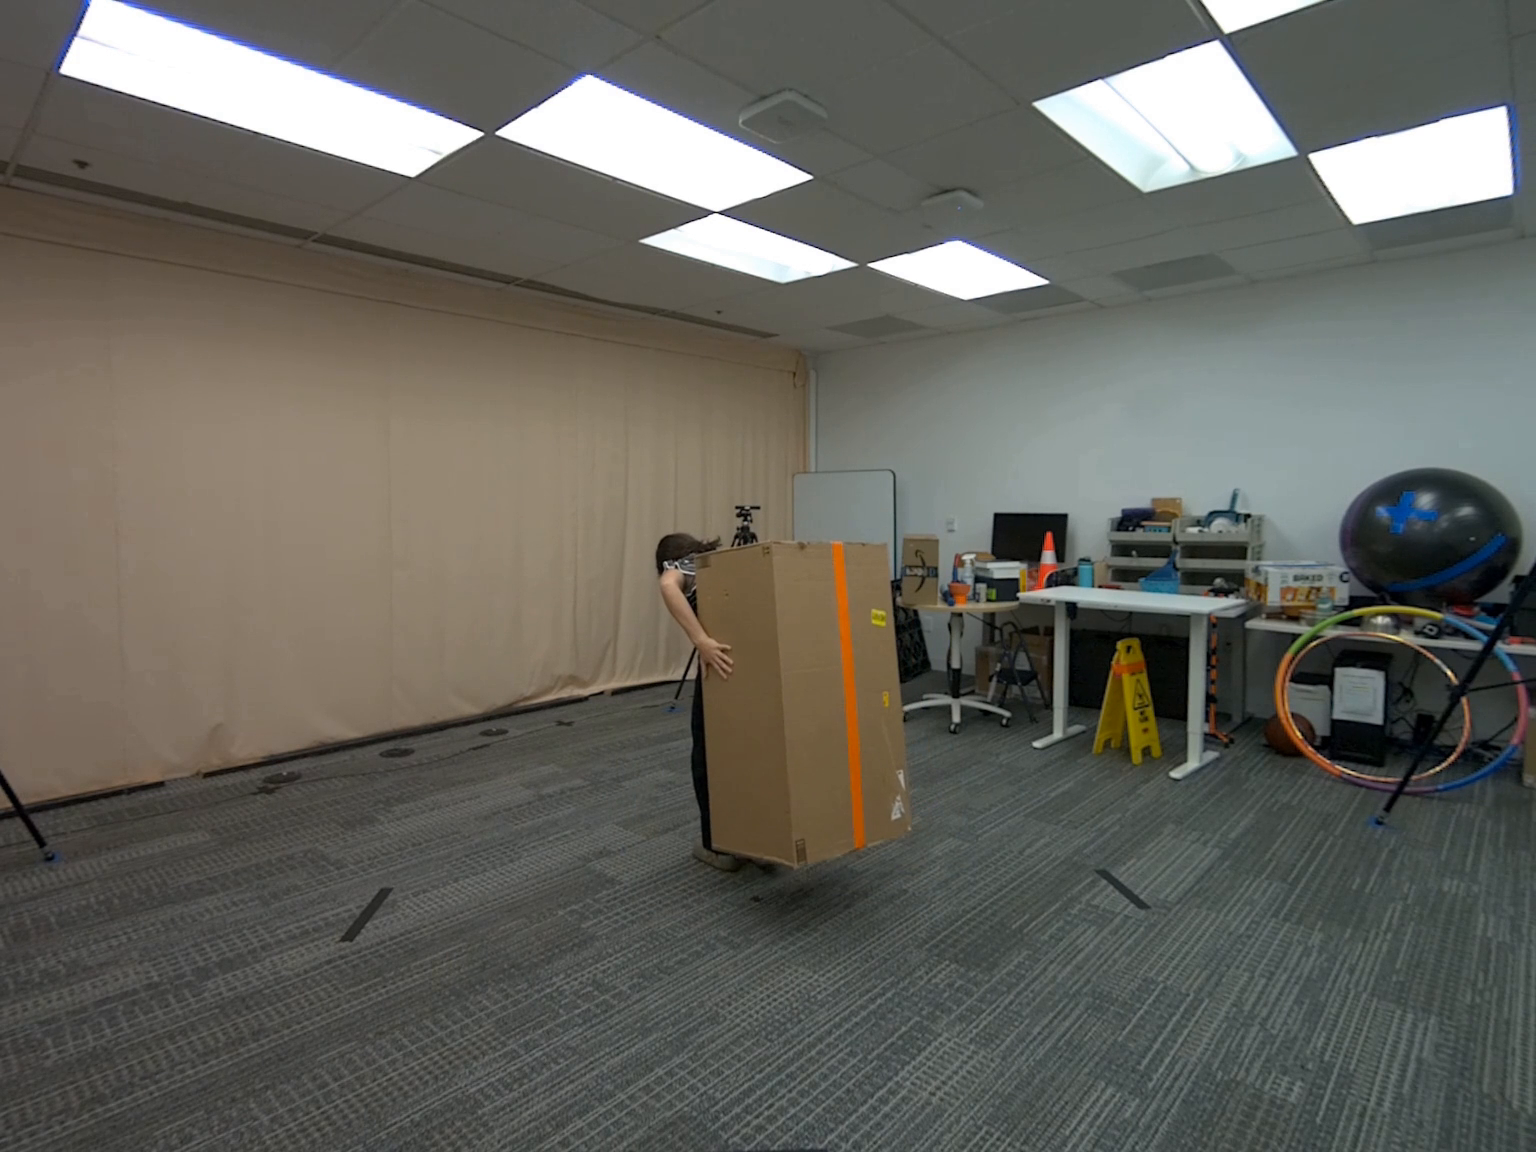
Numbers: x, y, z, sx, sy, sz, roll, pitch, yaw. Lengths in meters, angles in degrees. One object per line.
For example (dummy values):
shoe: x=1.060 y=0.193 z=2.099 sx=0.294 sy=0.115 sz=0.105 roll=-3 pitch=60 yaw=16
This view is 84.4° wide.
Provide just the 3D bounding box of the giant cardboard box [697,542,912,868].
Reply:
giant cardboard box: x=0.136 y=0.417 z=2.971 sx=0.559 sy=1.030 sz=0.438 roll=0 pitch=-8 yaw=-41
